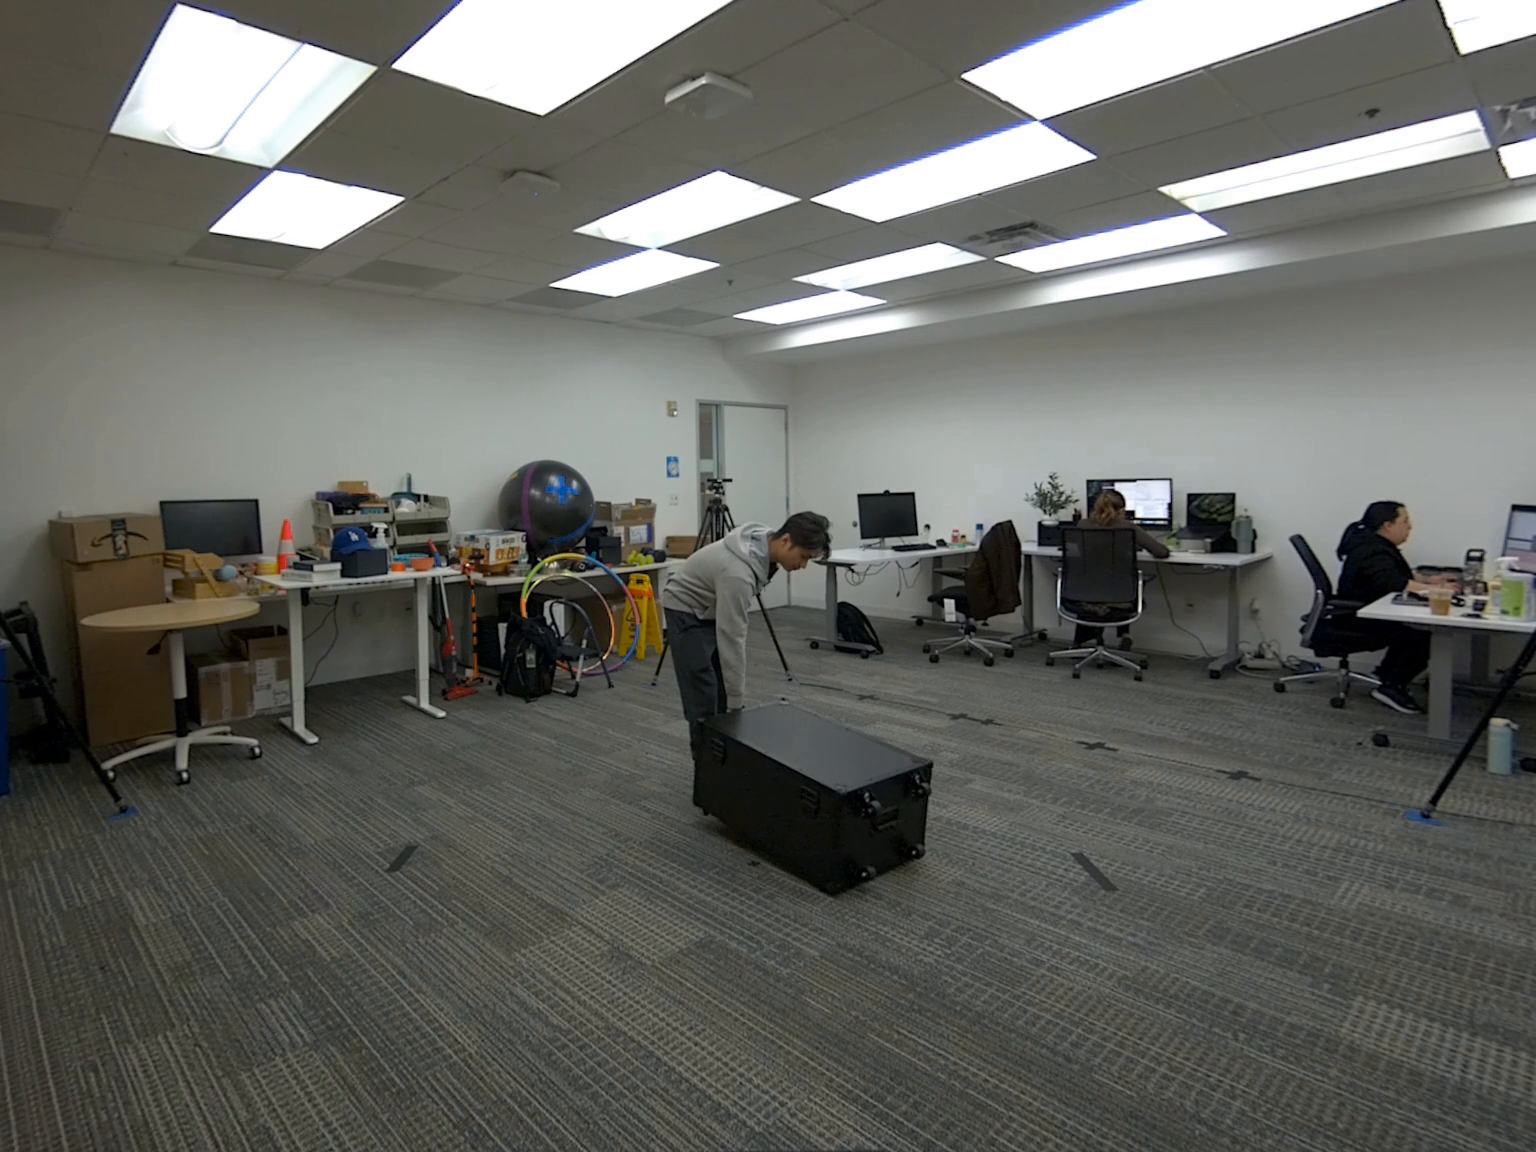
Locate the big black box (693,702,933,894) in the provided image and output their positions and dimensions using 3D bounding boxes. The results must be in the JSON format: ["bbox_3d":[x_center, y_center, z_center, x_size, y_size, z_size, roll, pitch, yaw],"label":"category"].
[{"bbox_3d":[0.164,0.807,3.227,0.507,0.393,0.891,-5,13,-41],"label":"big black box"}]
